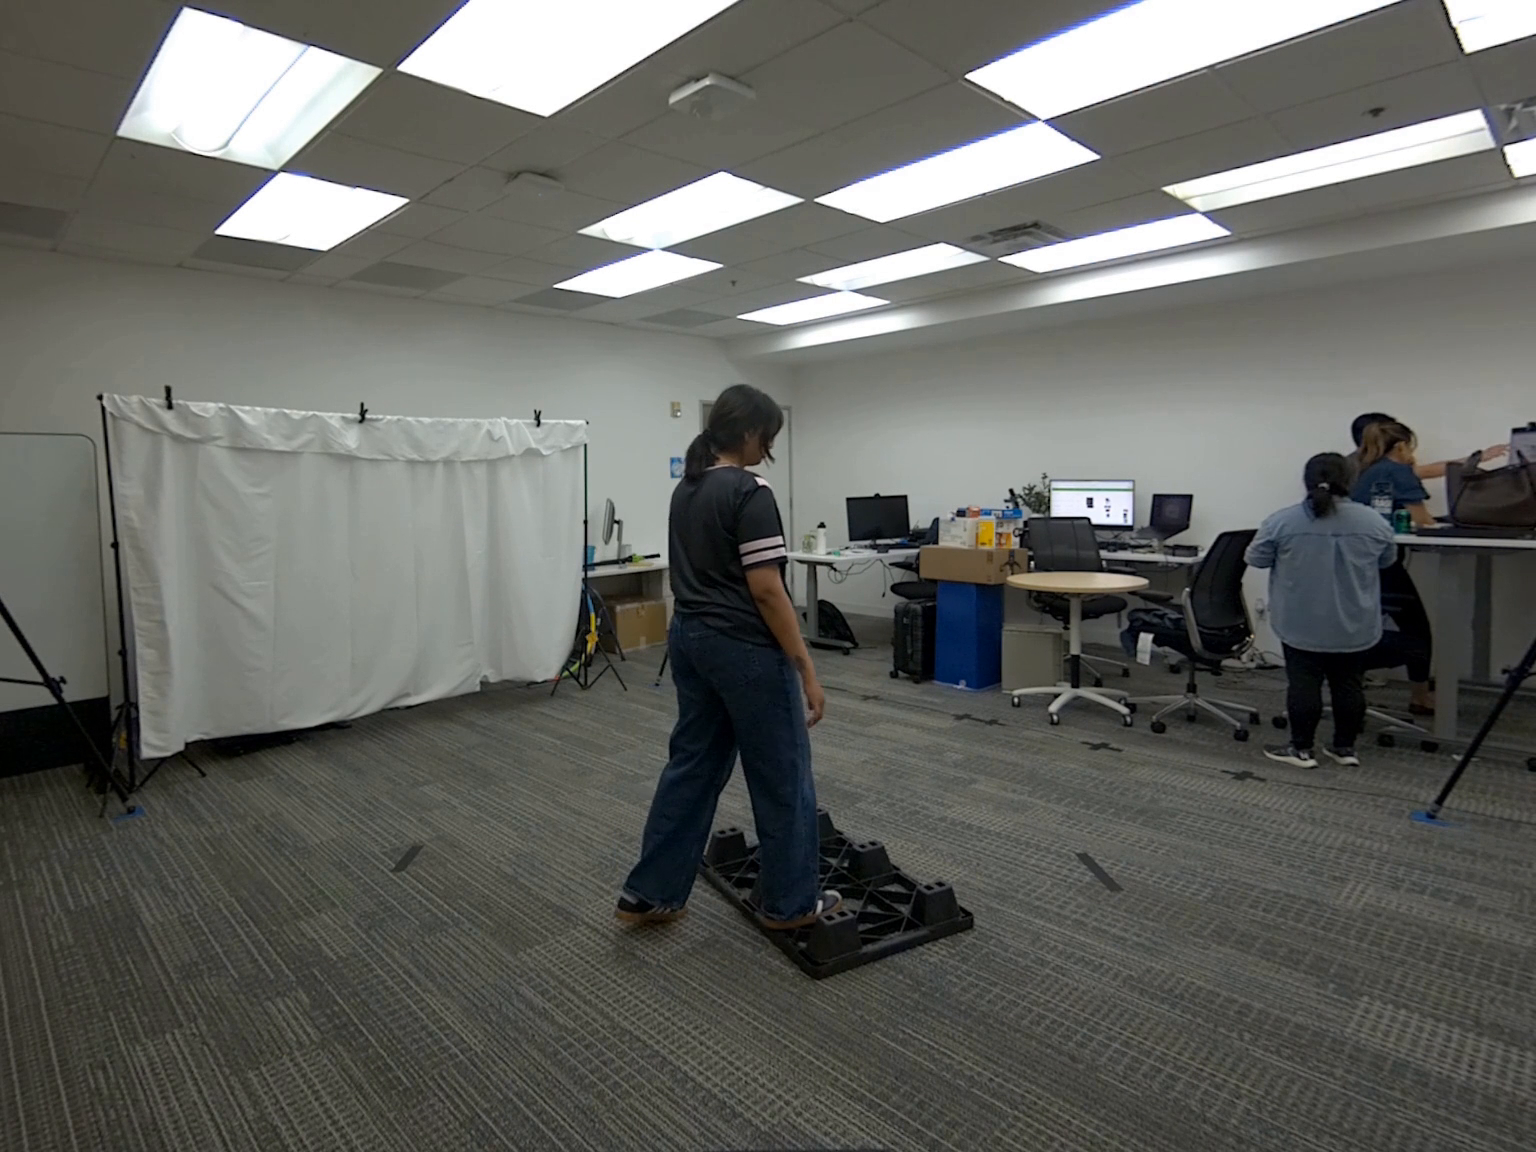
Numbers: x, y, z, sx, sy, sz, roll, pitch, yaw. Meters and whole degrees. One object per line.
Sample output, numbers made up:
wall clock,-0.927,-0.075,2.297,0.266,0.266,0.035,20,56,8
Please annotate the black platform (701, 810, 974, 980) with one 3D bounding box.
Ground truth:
black platform,0.185,1.007,2.862,0.591,0.143,0.828,-4,7,-29
